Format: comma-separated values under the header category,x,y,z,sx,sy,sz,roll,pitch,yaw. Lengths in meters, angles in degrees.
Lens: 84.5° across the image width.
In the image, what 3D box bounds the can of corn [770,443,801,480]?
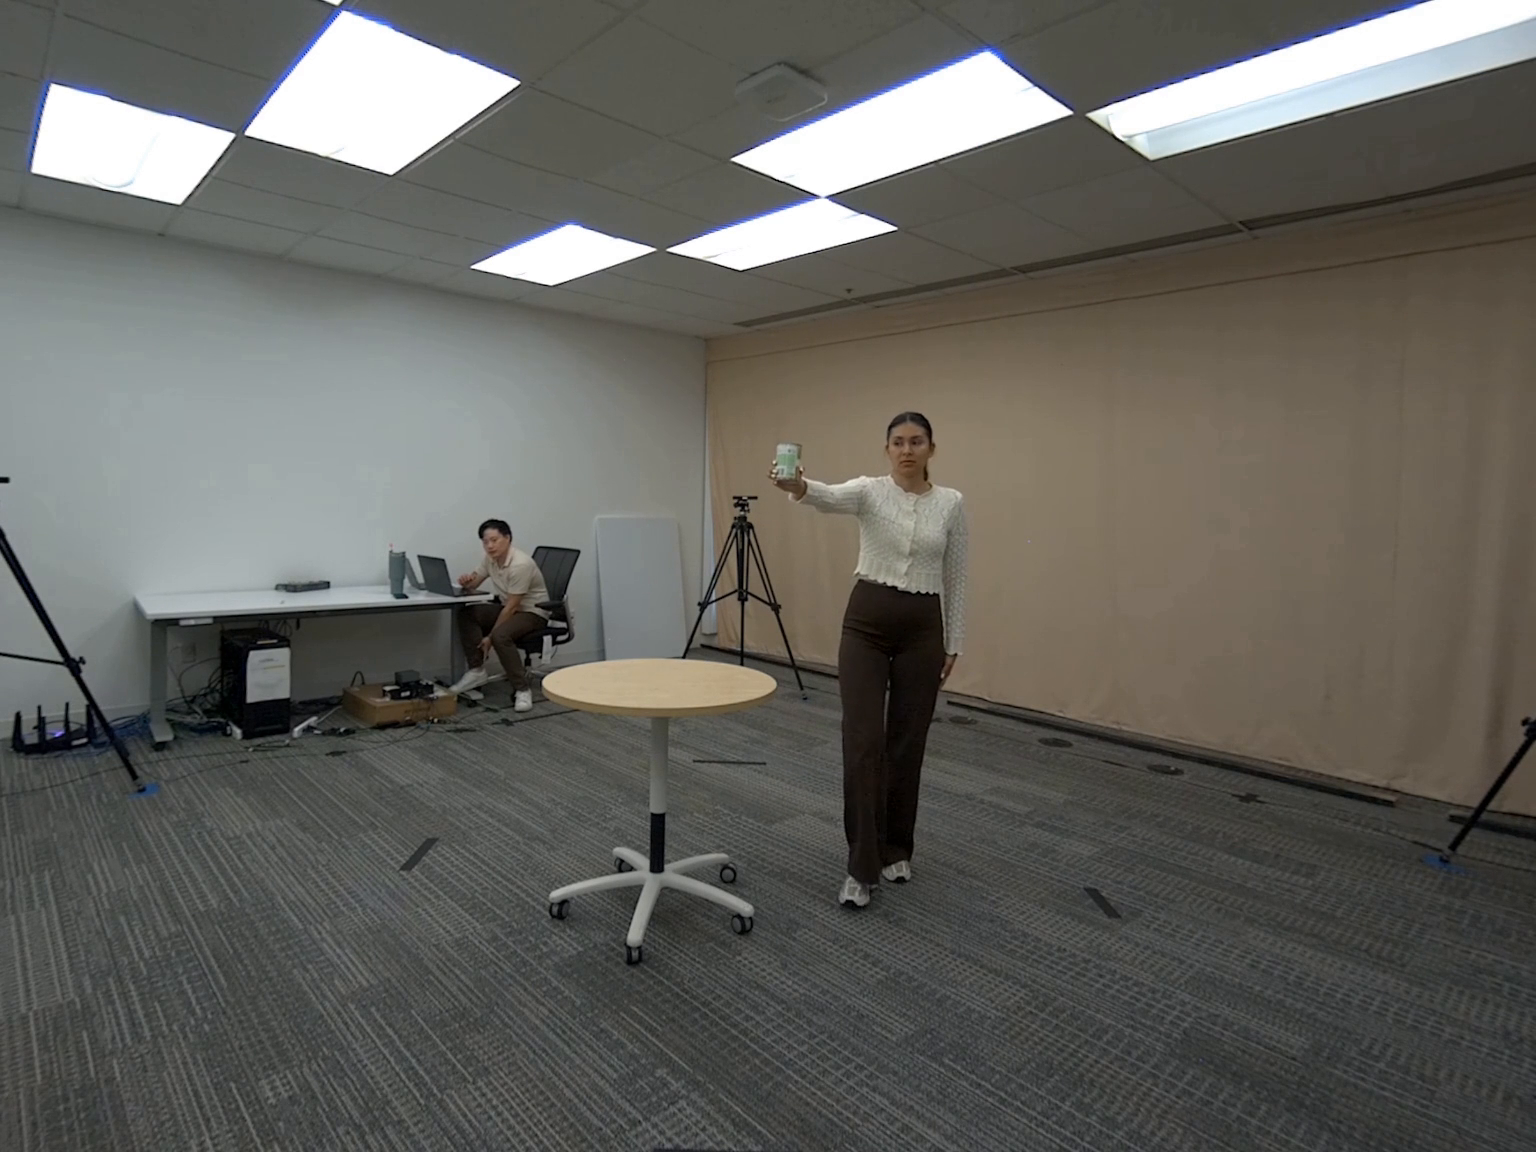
category,x,y,z,sx,sy,sz,roll,pitch,yaw
can of corn,0.059,-0.339,2.535,0.074,0.111,0.074,2,-2,-1
